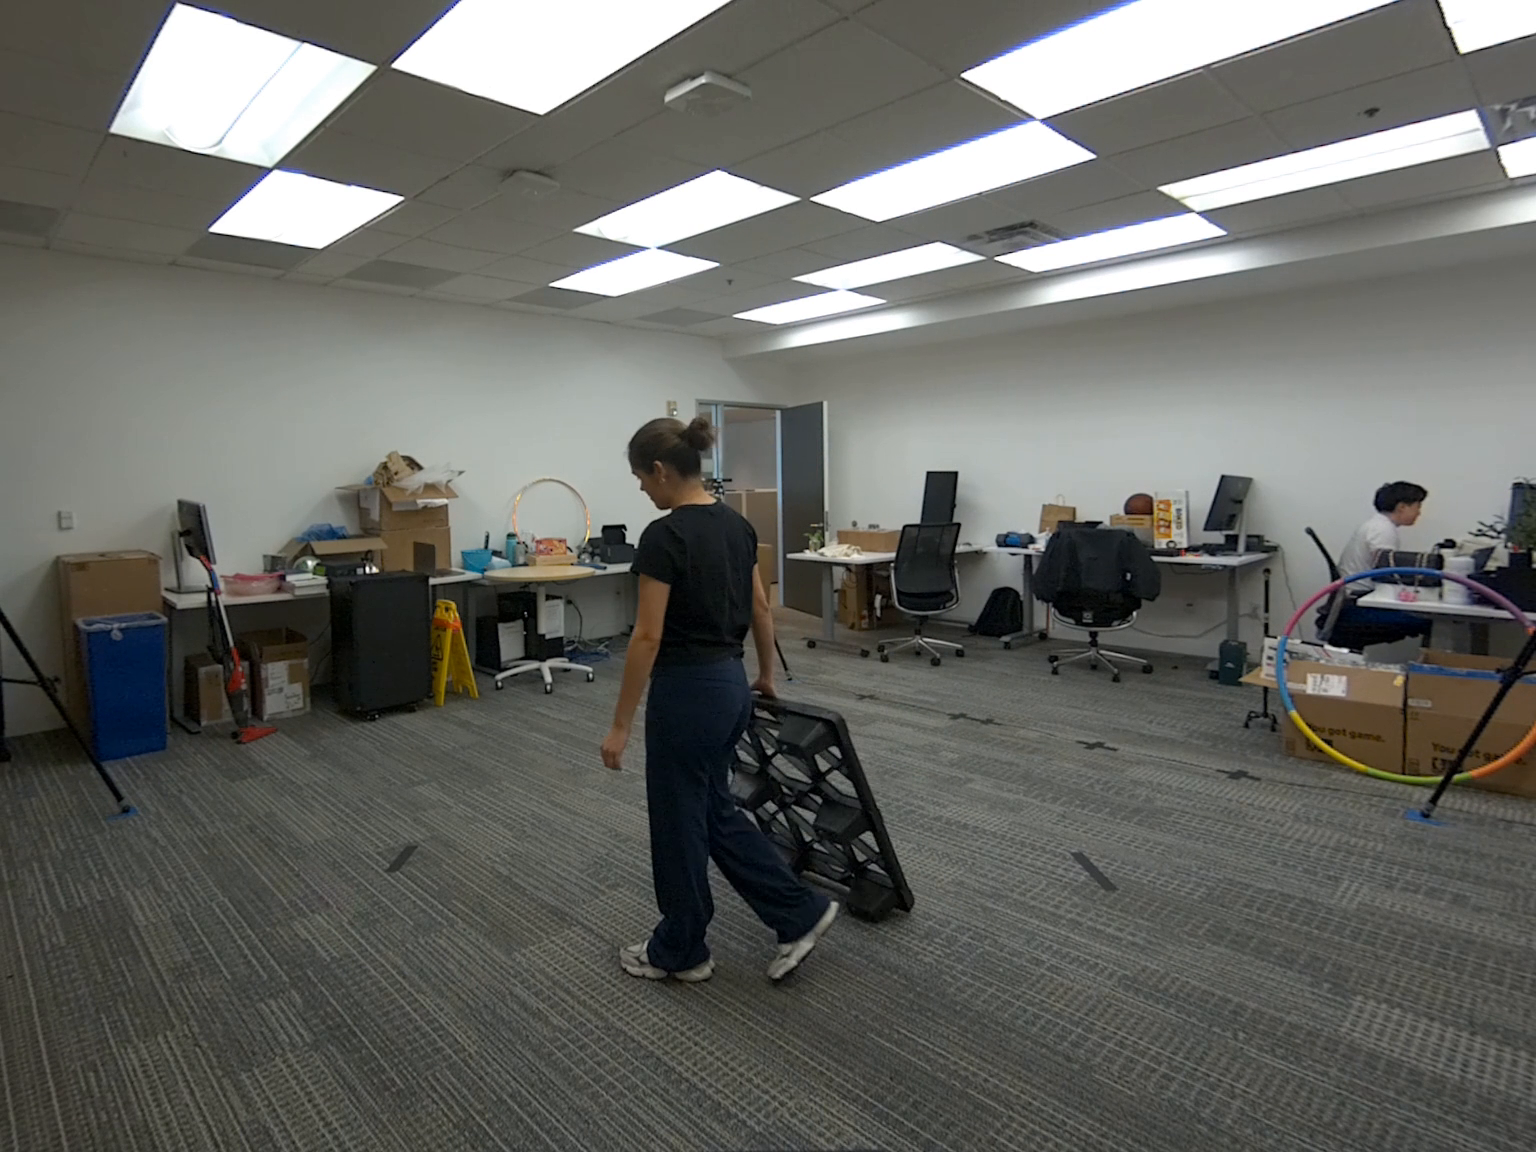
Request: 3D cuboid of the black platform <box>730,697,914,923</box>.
[{"bbox_3d":[0.083,0.723,2.752,0.624,0.785,0.142,4,34,44],"label":"black platform"}]
